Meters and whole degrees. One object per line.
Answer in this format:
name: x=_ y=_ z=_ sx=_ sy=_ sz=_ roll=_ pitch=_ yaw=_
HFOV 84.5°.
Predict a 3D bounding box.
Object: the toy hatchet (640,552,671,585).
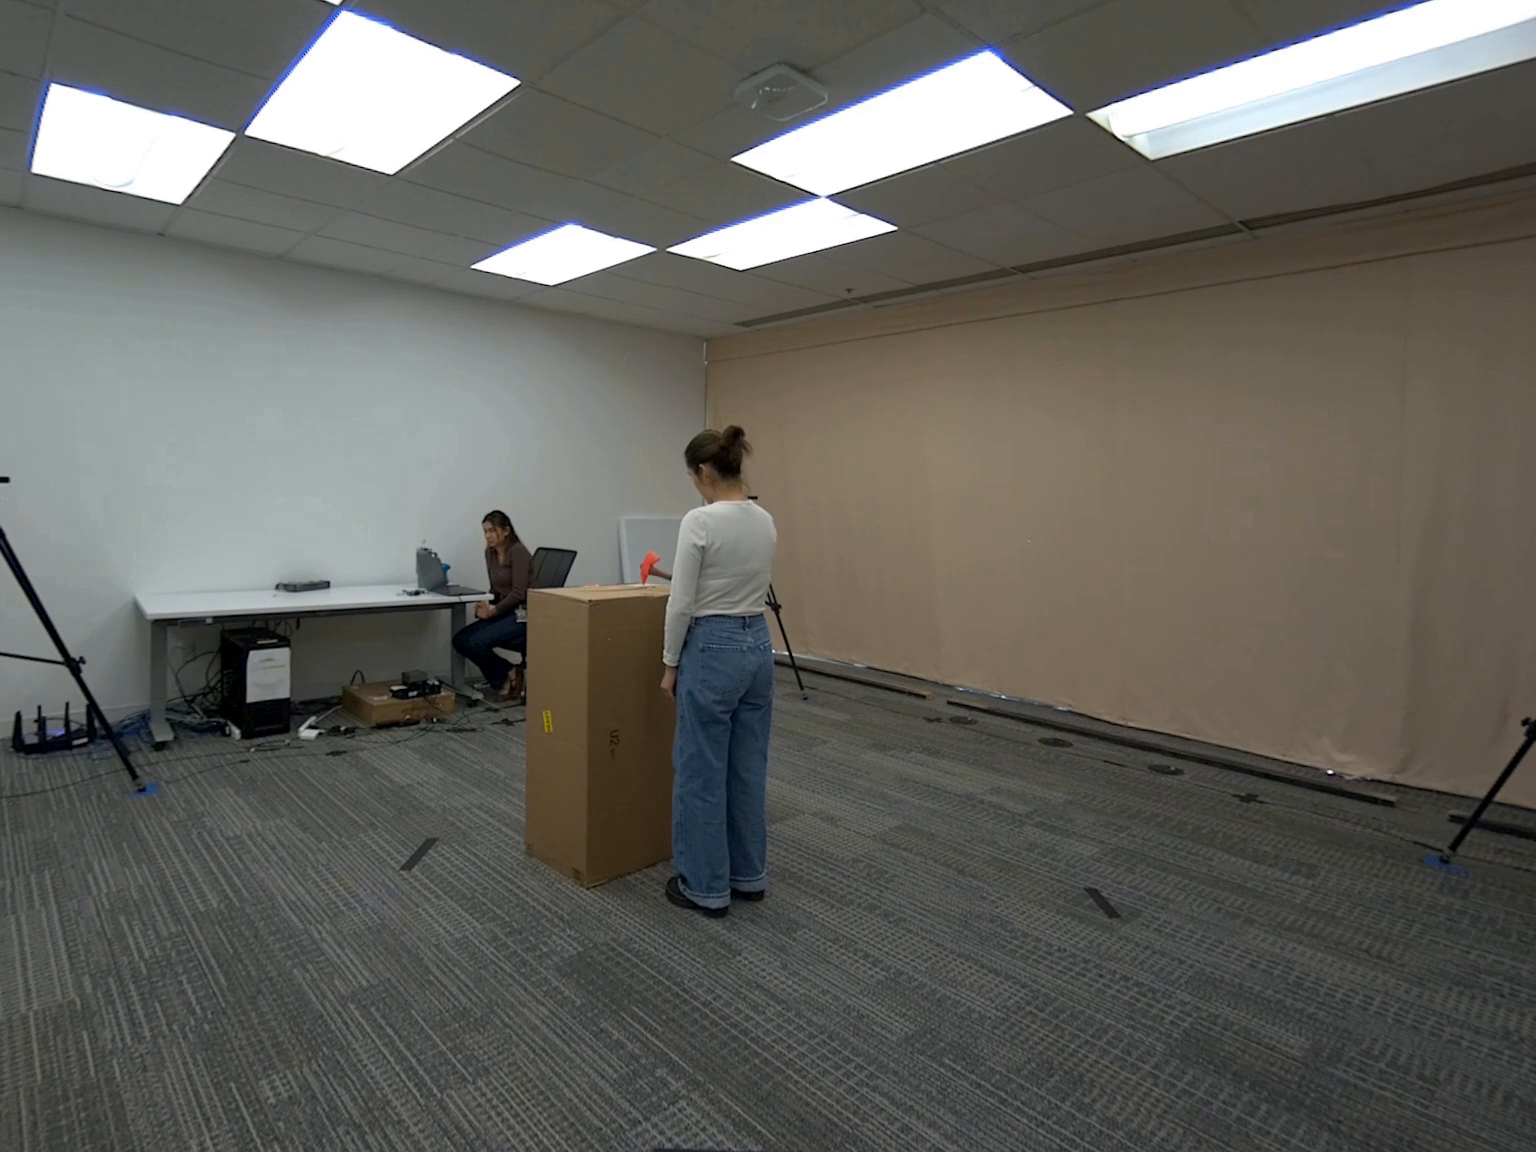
toy hatchet: x=-0.402 y=-0.035 z=3.273 sx=0.276 sy=0.131 sz=0.029 roll=-2 pitch=-5 yaw=32
